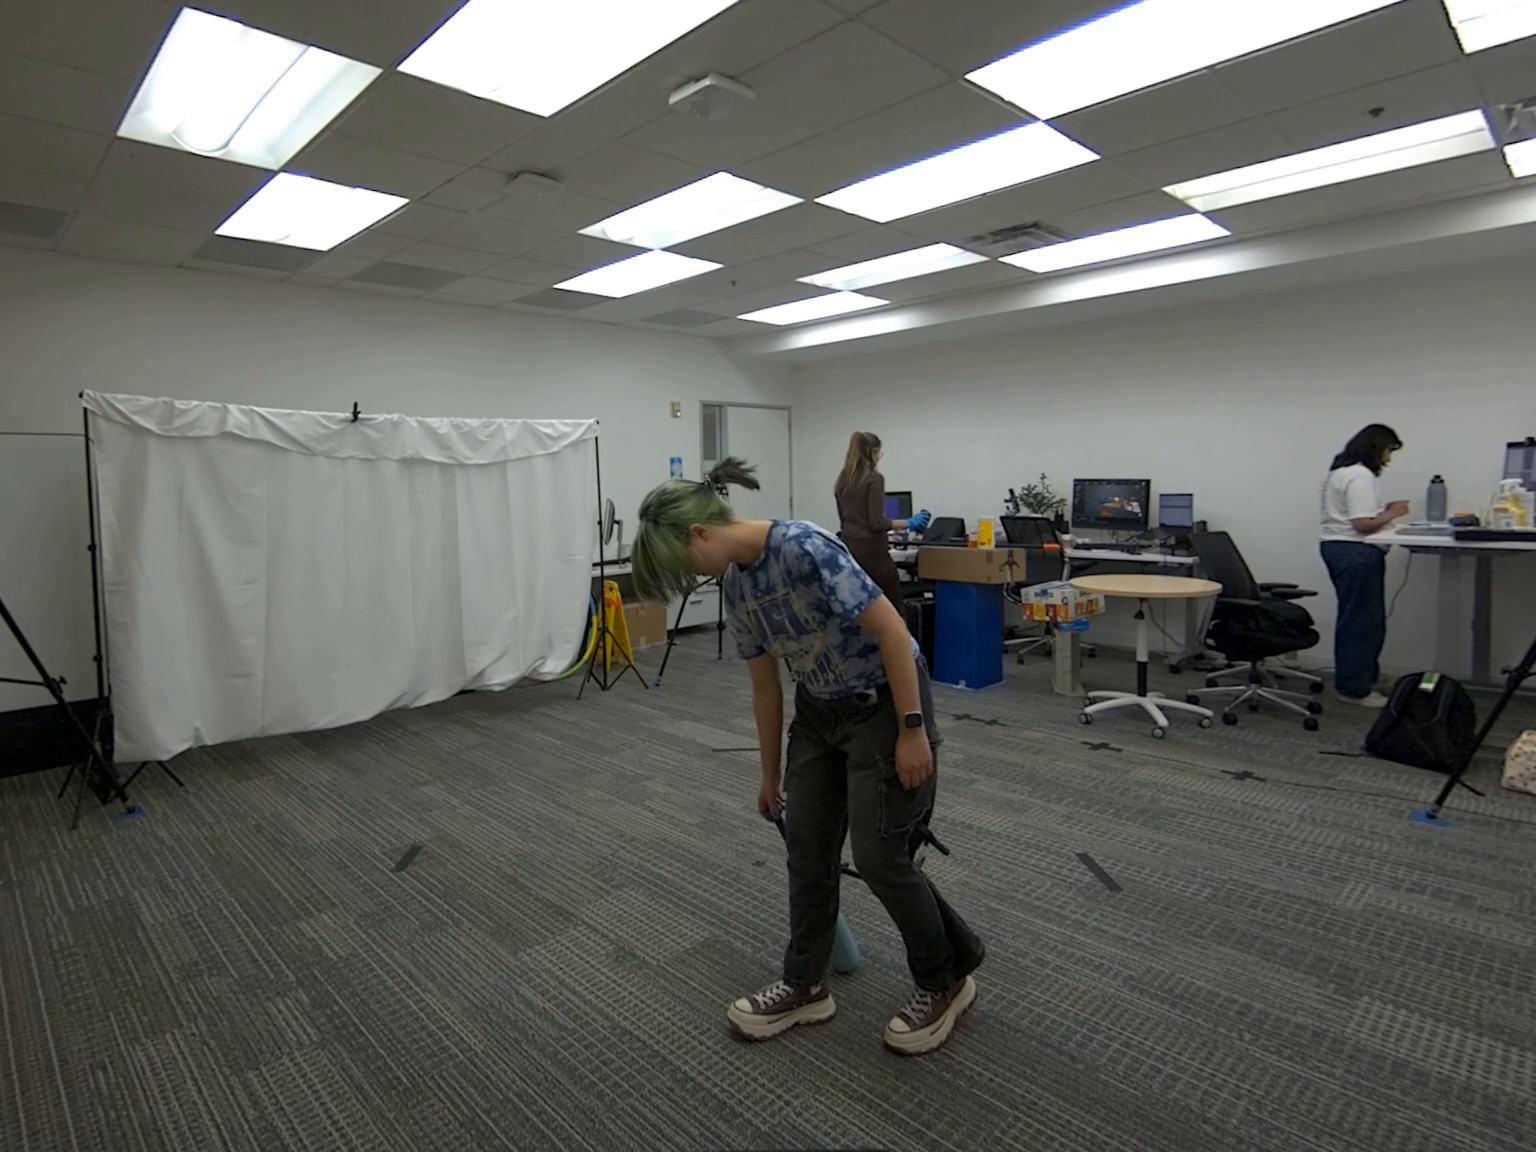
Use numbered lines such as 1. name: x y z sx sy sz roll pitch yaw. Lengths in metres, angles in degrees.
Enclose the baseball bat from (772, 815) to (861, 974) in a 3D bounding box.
1. baseball bat: 0.138 0.879 2.381 0.089 0.535 0.090 -23 12 4
